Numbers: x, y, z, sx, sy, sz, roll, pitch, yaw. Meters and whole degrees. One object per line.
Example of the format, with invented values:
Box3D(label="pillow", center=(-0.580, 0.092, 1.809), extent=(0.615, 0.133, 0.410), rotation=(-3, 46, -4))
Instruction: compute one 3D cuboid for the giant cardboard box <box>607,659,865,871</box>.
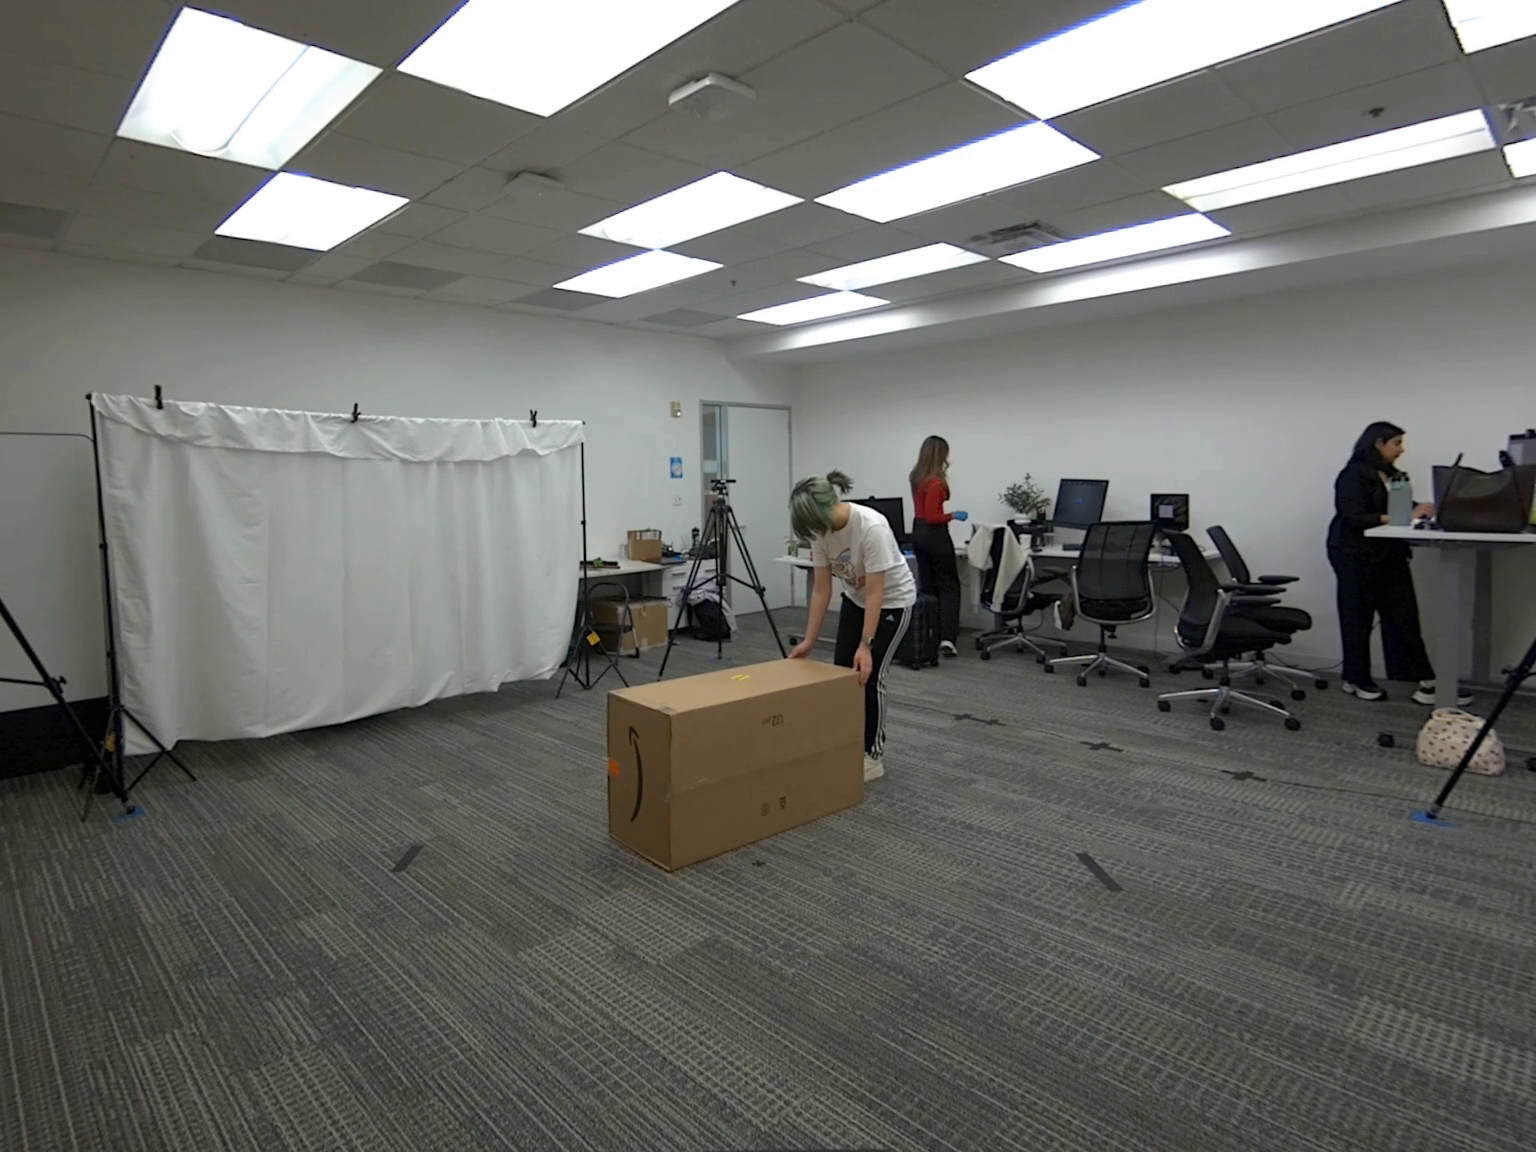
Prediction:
Box3D(label="giant cardboard box", center=(-0.113, 0.715, 3.506), extent=(1.000, 0.582, 0.460), rotation=(-5, 6, -41))
